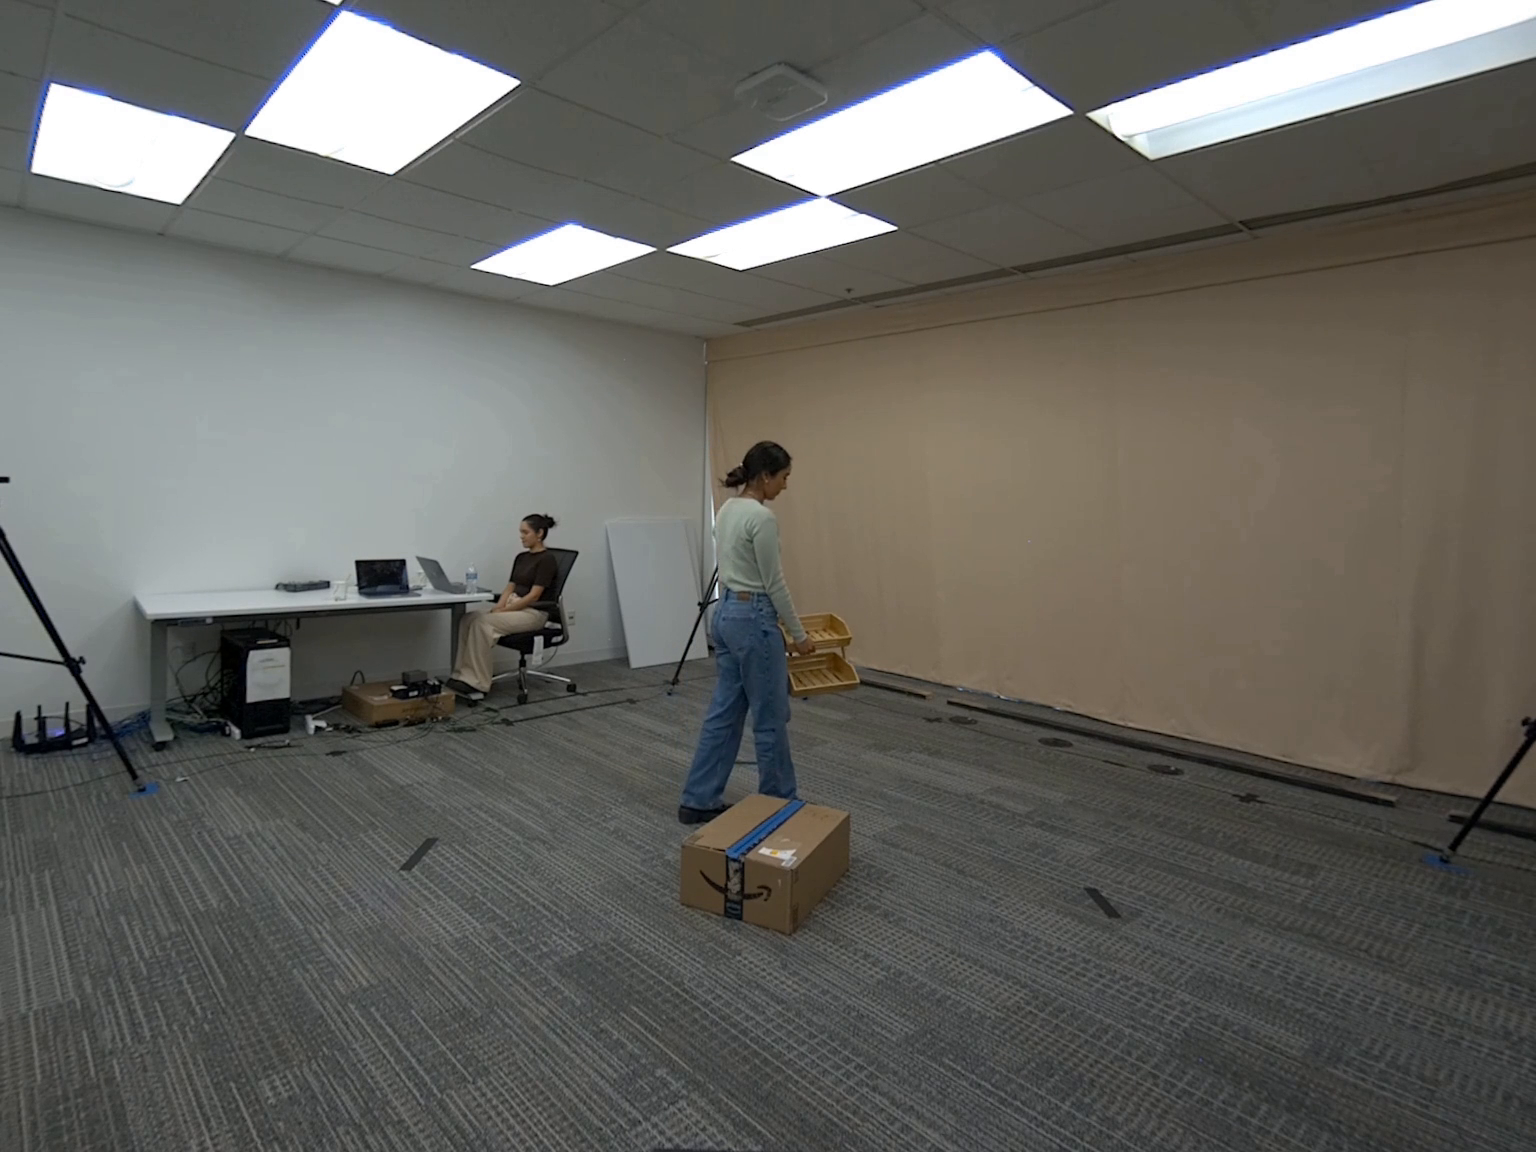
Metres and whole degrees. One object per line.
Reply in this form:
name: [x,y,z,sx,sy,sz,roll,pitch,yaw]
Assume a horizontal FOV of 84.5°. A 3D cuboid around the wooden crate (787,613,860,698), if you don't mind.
wooden crate: [0.193,0.334,3.662,0.320,0.270,0.309,-4,16,-19]
